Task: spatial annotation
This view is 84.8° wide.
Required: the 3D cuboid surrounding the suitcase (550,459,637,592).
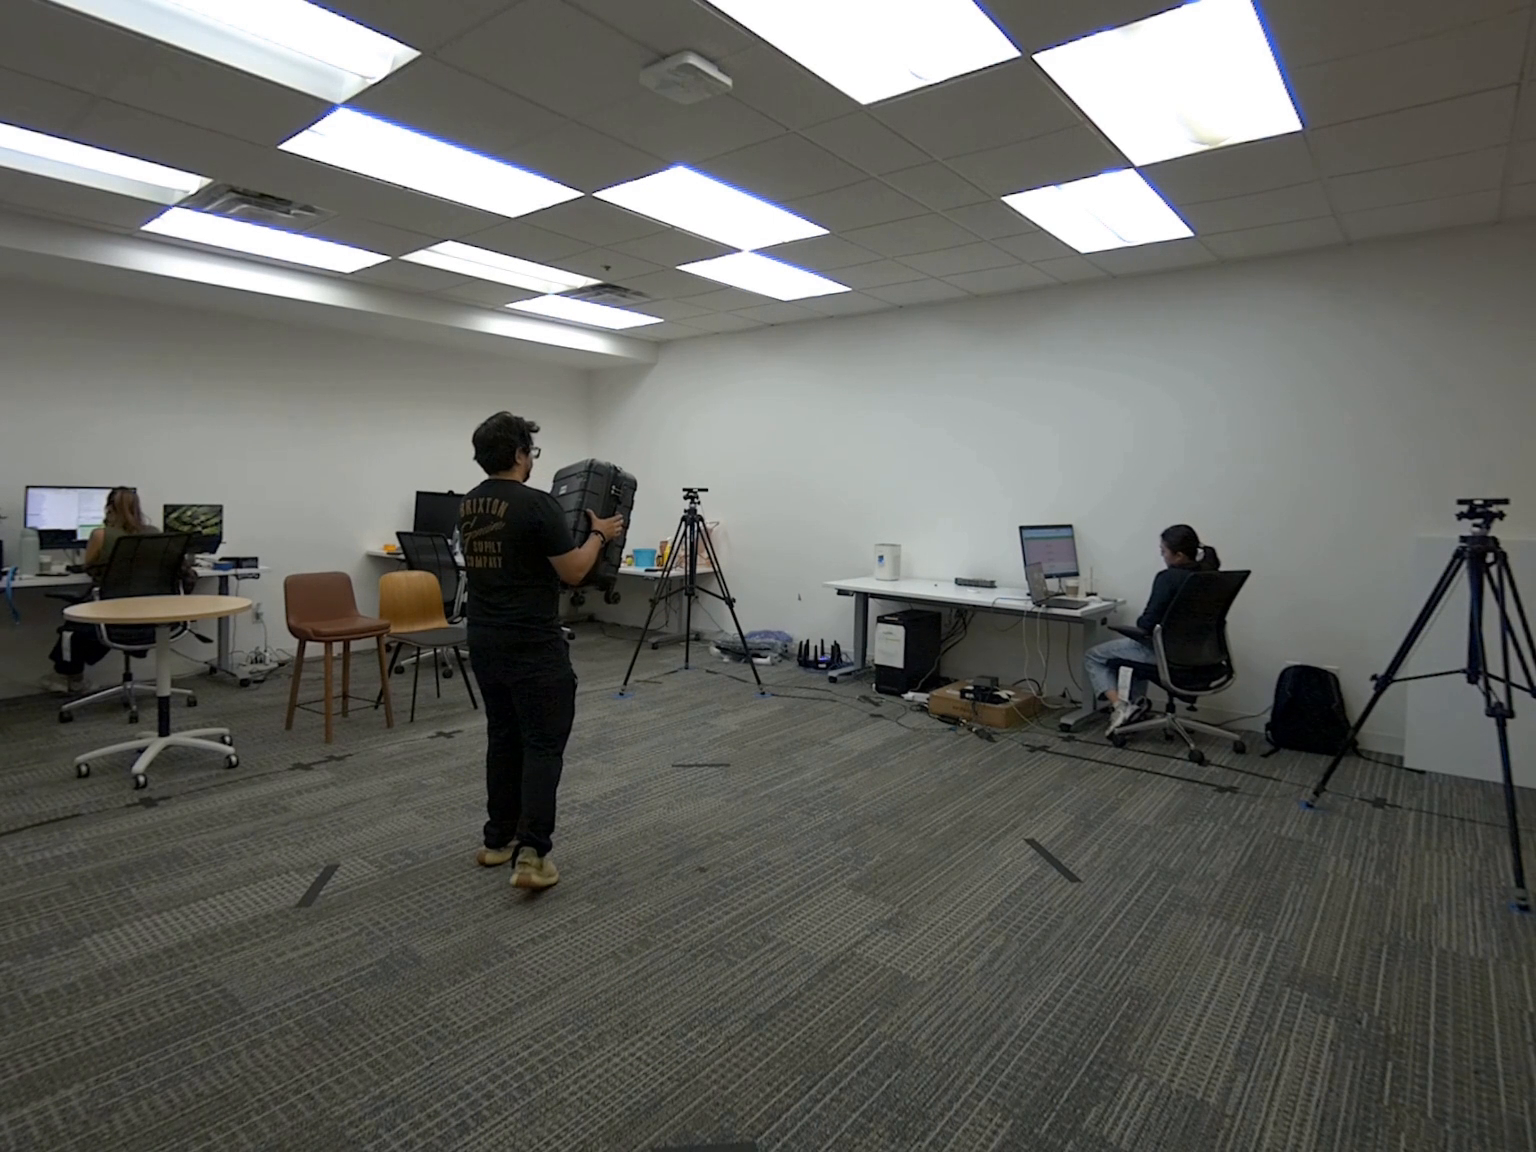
[{"bbox_3d":[-0.754,-0.190,3.425,0.239,0.555,0.385,20,-16,-35],"label":"suitcase"}]
